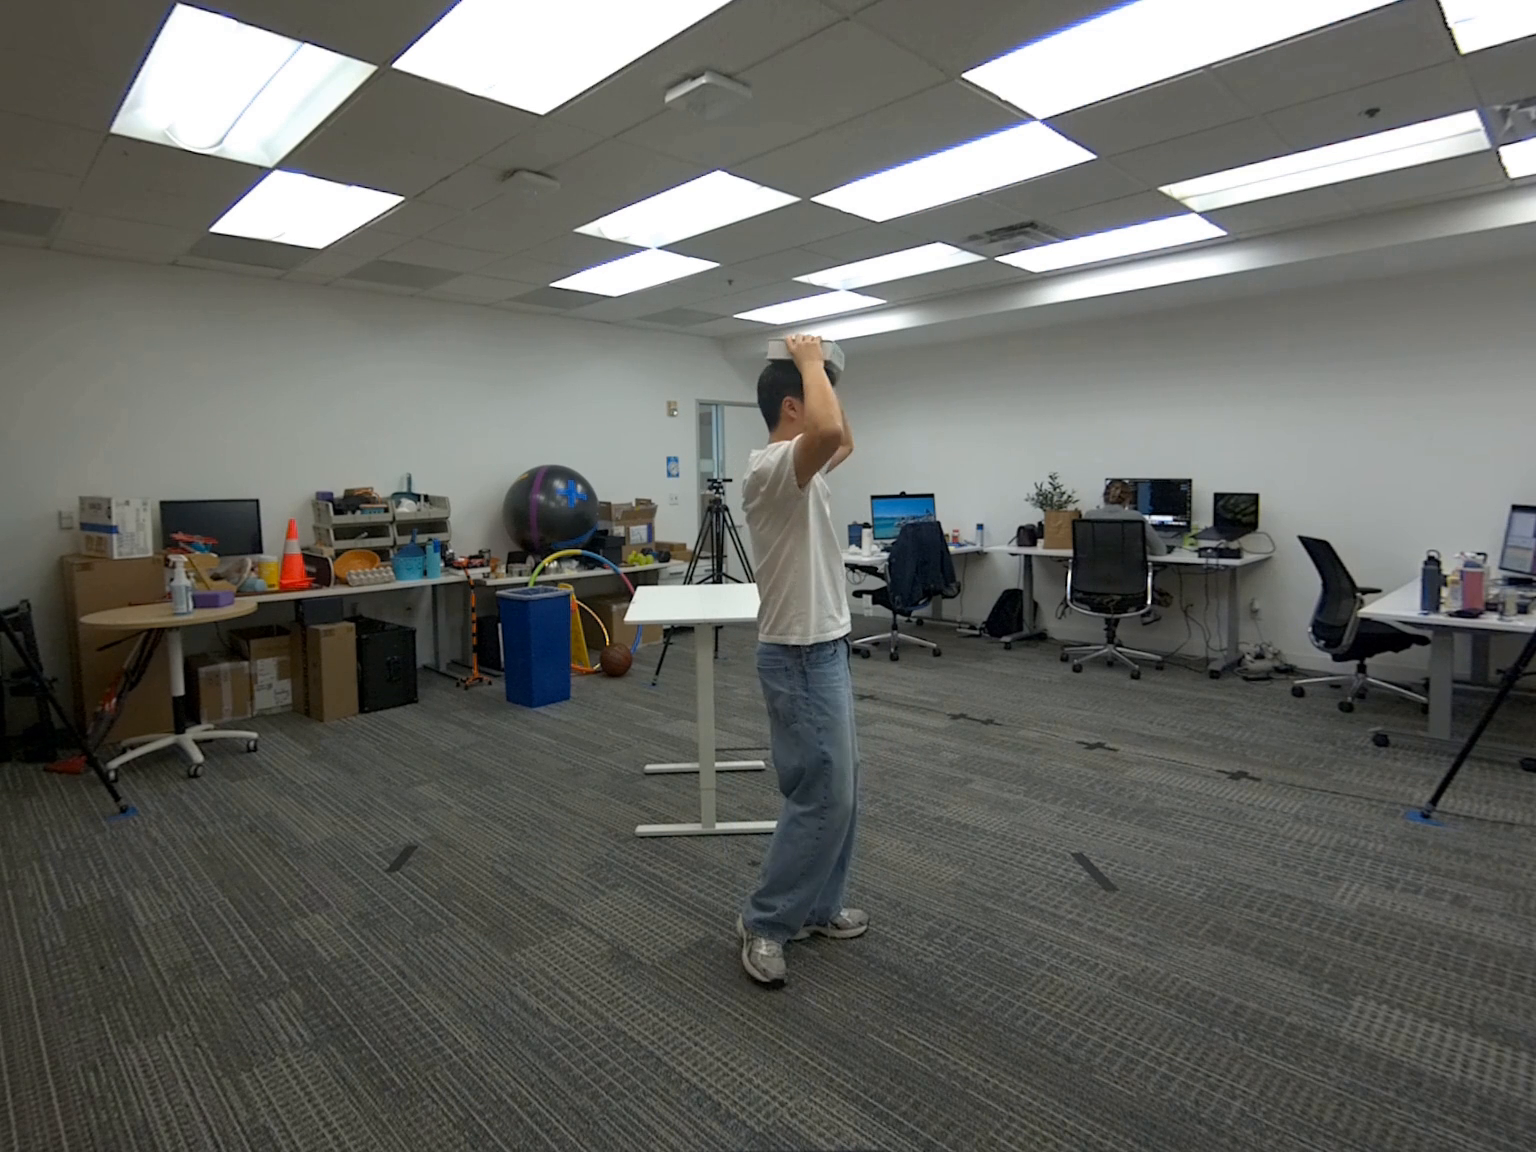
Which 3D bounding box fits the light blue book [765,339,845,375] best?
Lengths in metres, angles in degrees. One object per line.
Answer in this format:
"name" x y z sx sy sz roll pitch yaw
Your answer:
"light blue book" 0.122 -0.643 2.487 0.194 0.059 0.259 7 7 10
